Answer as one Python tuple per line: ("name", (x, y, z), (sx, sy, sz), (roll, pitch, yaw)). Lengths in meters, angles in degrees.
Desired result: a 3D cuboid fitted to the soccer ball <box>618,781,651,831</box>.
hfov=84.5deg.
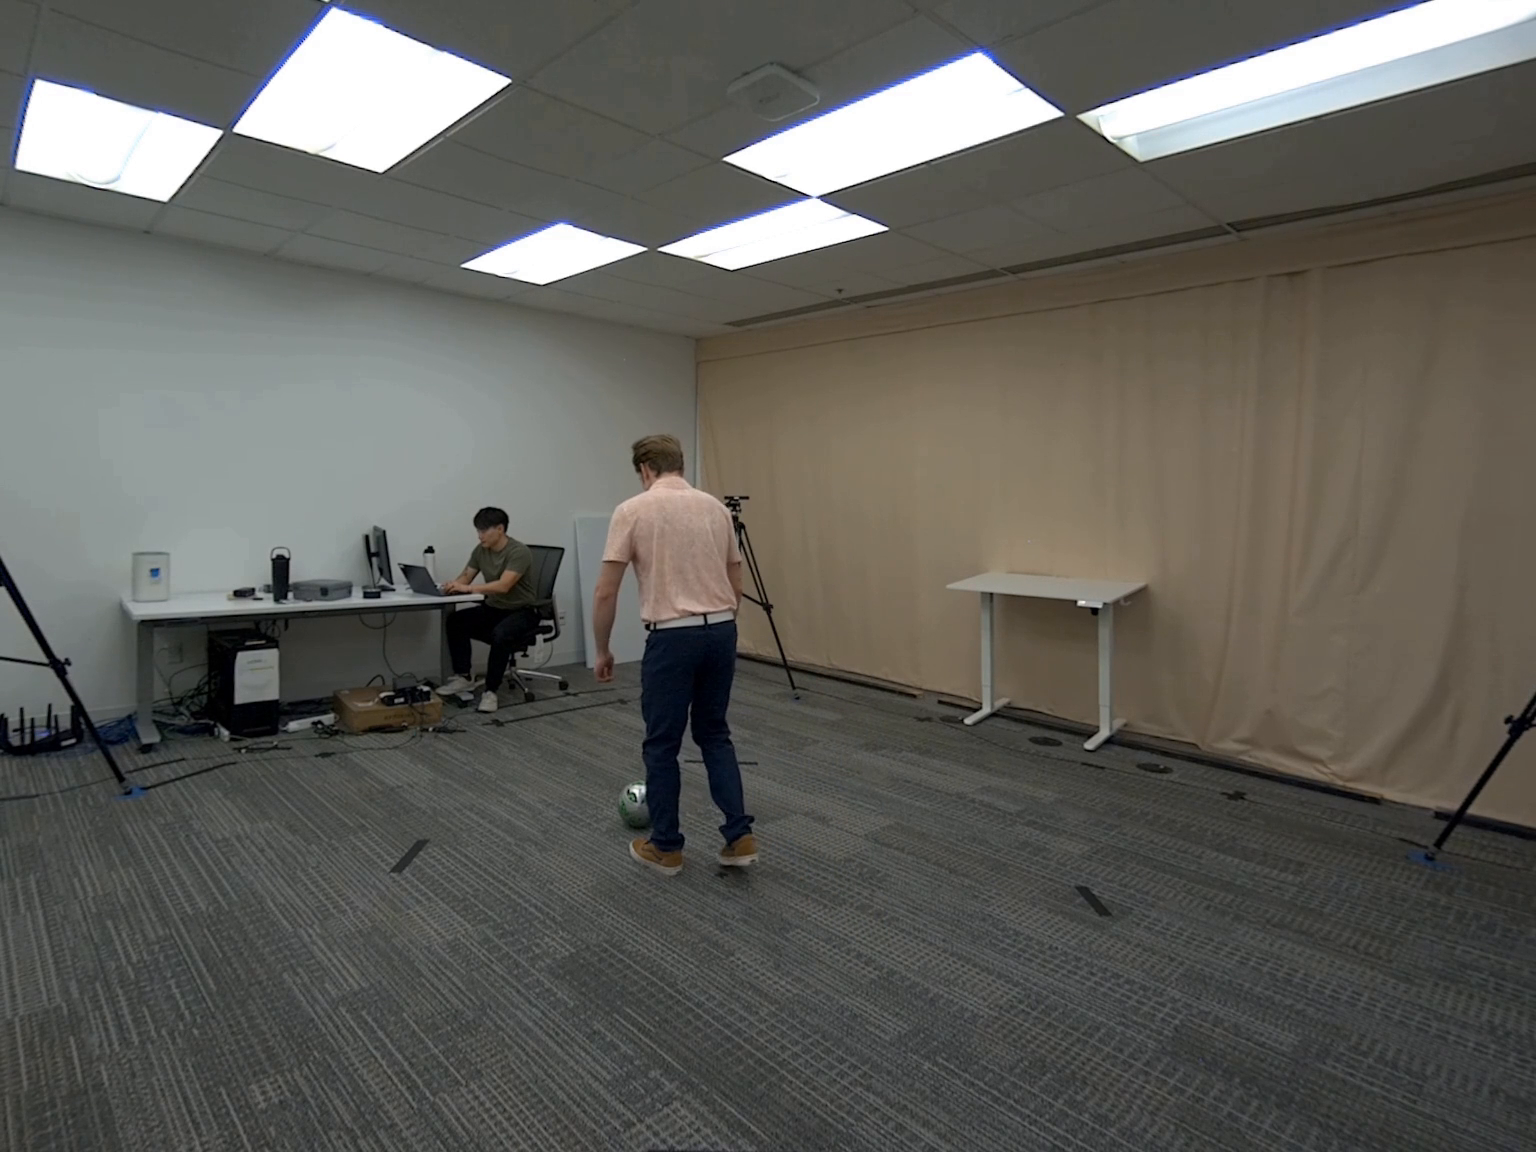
("soccer ball", (-0.548, 0.960, 3.547), (0.187, 0.187, 0.188), (1, 4, -1))
